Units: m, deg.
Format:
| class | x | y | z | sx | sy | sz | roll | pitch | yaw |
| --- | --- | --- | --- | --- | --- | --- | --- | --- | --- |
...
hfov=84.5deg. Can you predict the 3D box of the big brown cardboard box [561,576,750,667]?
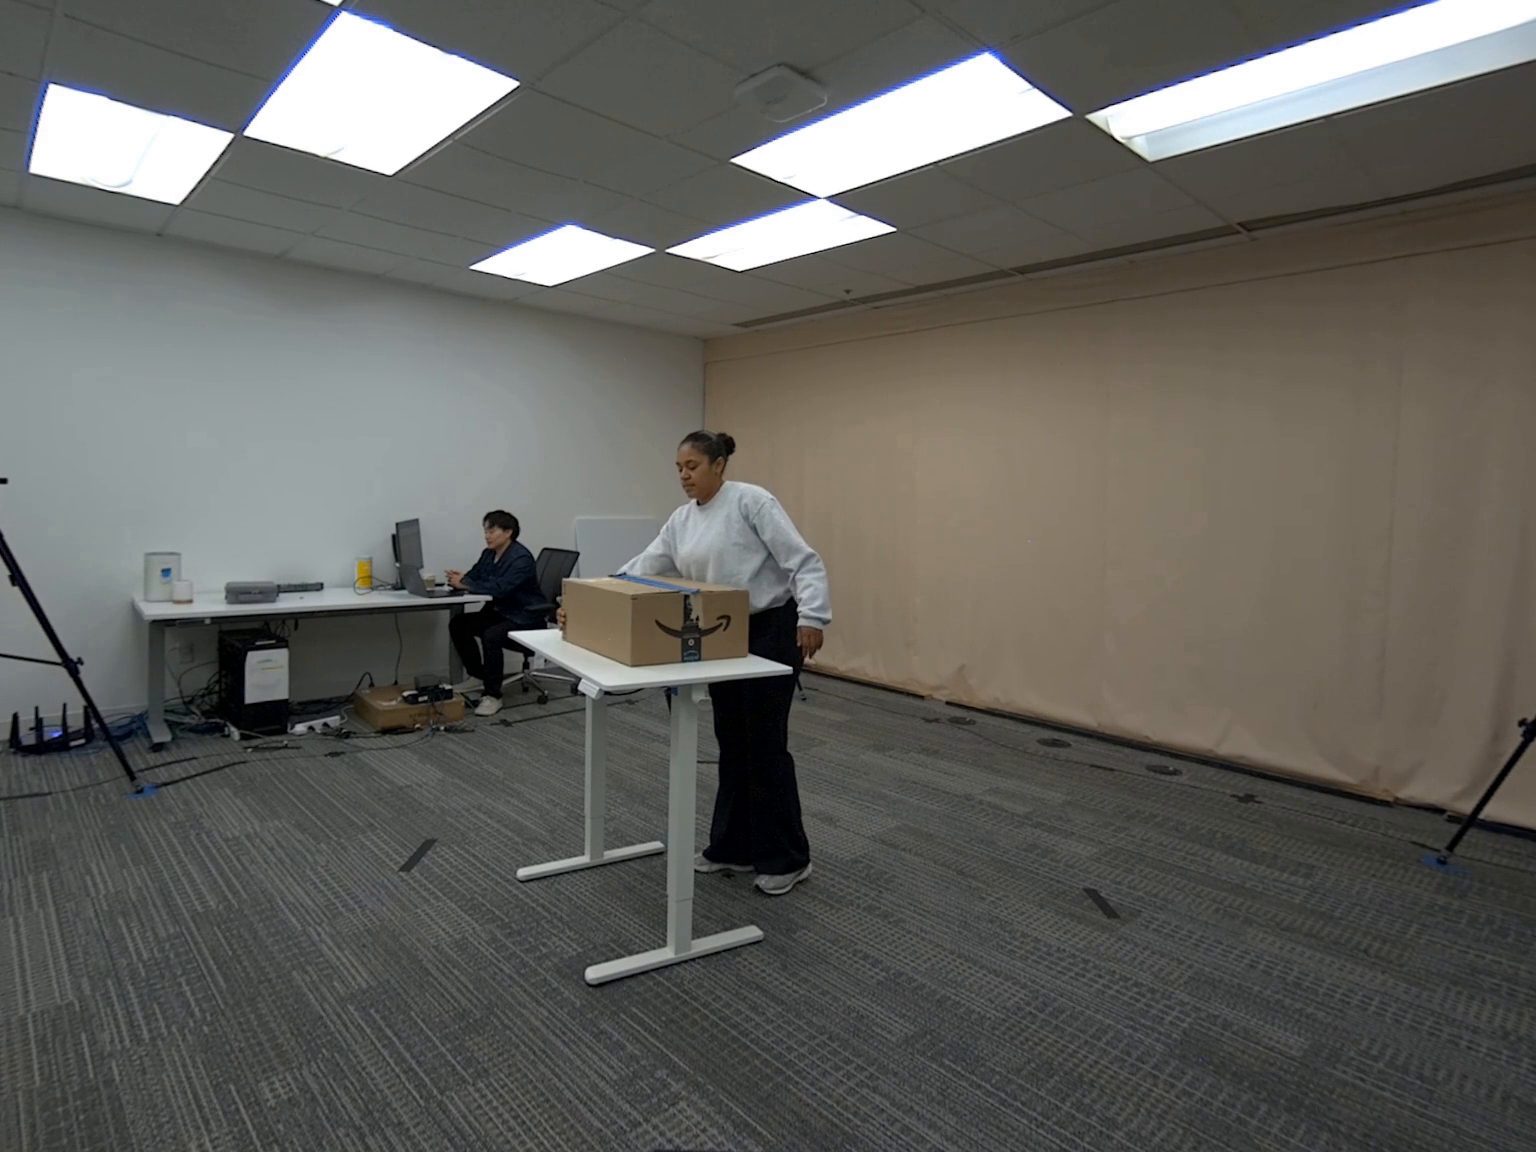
| class | x | y | z | sx | sy | sz | roll | pitch | yaw |
| --- | --- | --- | --- | --- | --- | --- | --- | --- | --- |
| big brown cardboard box | -0.387 | 0.135 | 2.819 | 0.409 | 0.232 | 0.603 | -2 | 6 | -34 |
